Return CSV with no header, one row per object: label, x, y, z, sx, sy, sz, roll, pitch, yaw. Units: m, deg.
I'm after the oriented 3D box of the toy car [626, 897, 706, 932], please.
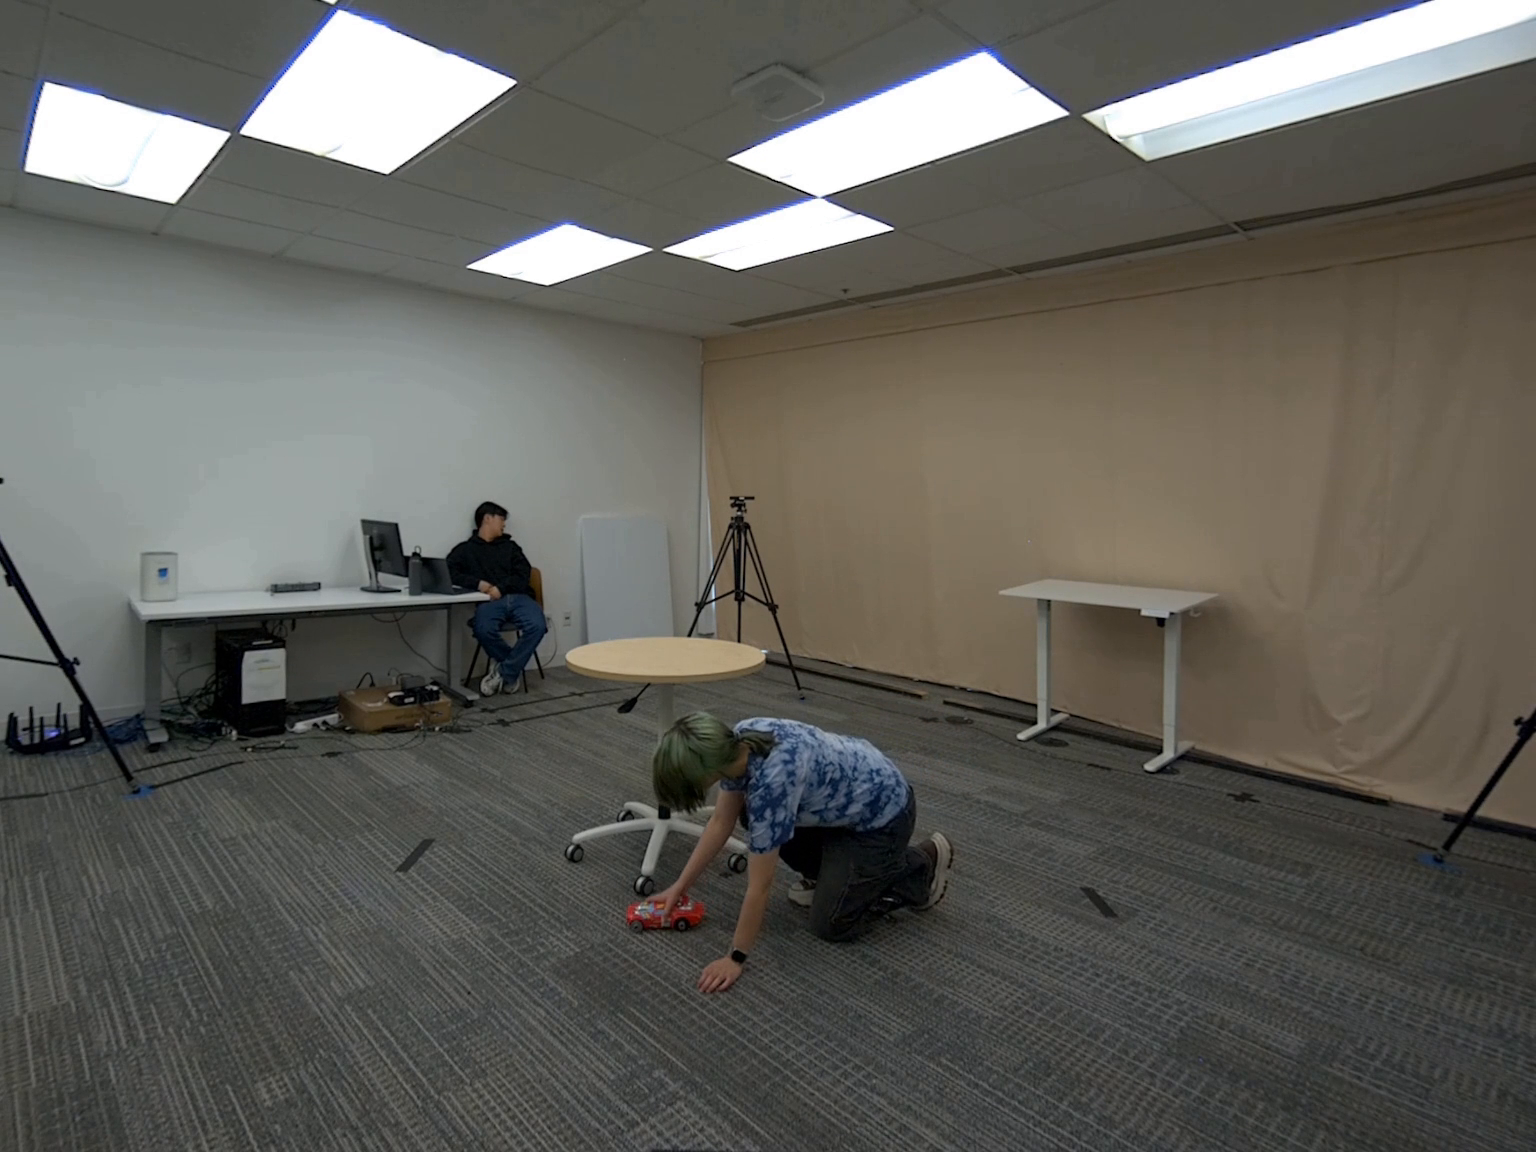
toy car,-0.329,1.101,2.734,0.253,0.083,0.131,-10,6,-6
